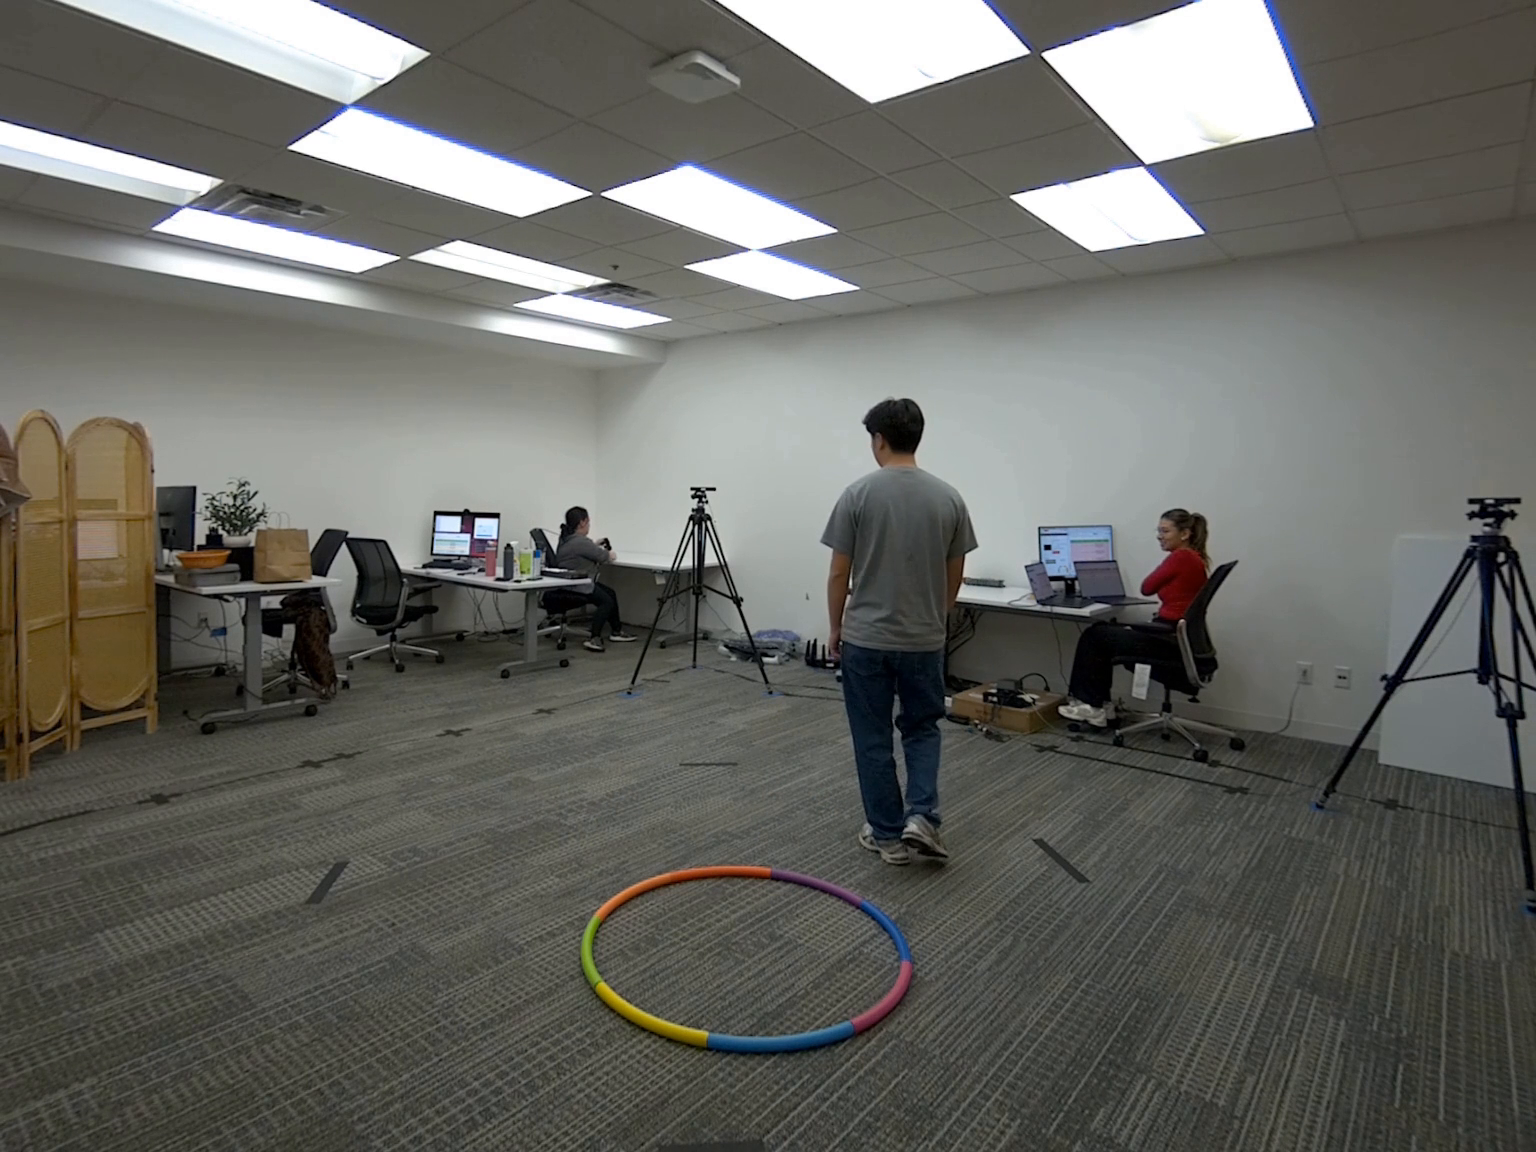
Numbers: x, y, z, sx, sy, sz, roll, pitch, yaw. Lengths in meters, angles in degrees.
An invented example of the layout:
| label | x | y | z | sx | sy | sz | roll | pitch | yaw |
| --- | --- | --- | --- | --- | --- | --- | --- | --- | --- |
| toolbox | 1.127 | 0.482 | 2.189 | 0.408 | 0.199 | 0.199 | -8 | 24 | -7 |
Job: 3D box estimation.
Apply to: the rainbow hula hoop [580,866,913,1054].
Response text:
| label | x | y | z | sx | sy | sz | roll | pitch | yaw |
| --- | --- | --- | --- | --- | --- | --- | --- | --- | --- |
| rainbow hula hoop | -0.079 | 1.090 | 2.580 | 0.978 | 0.035 | 0.984 | 1 | 6 | -2 |
